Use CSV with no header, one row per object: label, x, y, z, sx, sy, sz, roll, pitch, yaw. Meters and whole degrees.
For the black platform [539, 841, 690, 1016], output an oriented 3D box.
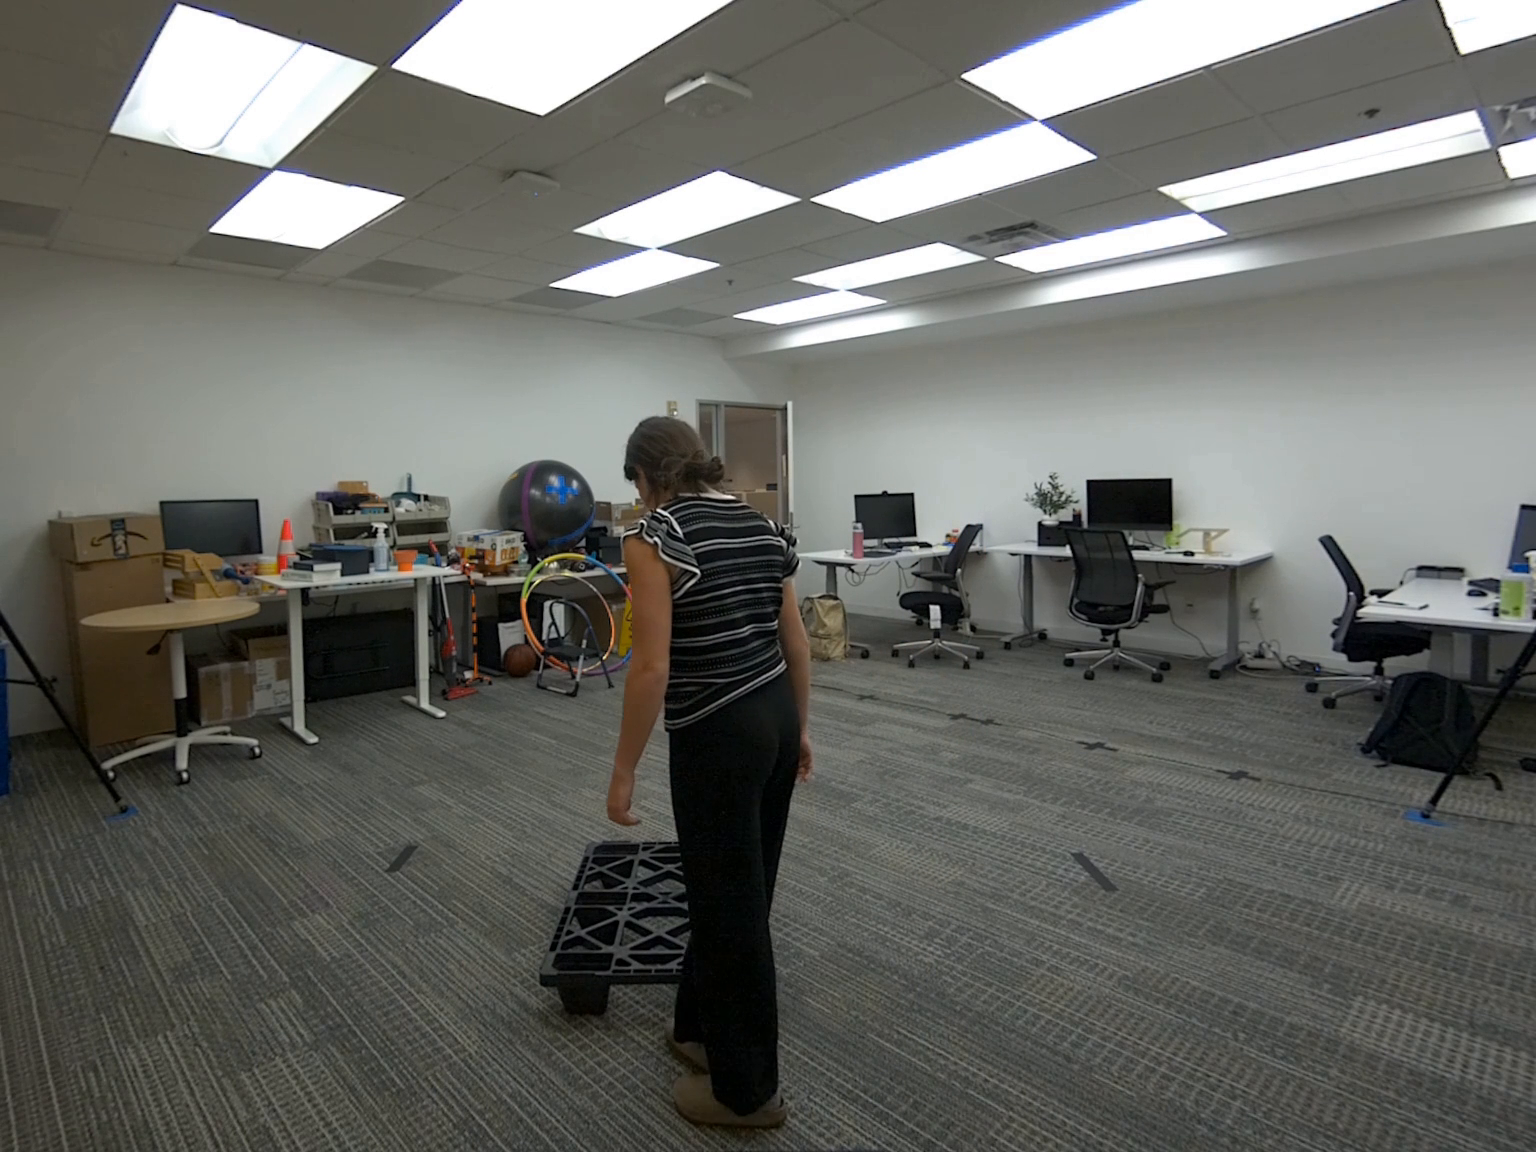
black platform,-0.314,1.041,2.603,0.605,0.142,0.810,-3,6,-1
